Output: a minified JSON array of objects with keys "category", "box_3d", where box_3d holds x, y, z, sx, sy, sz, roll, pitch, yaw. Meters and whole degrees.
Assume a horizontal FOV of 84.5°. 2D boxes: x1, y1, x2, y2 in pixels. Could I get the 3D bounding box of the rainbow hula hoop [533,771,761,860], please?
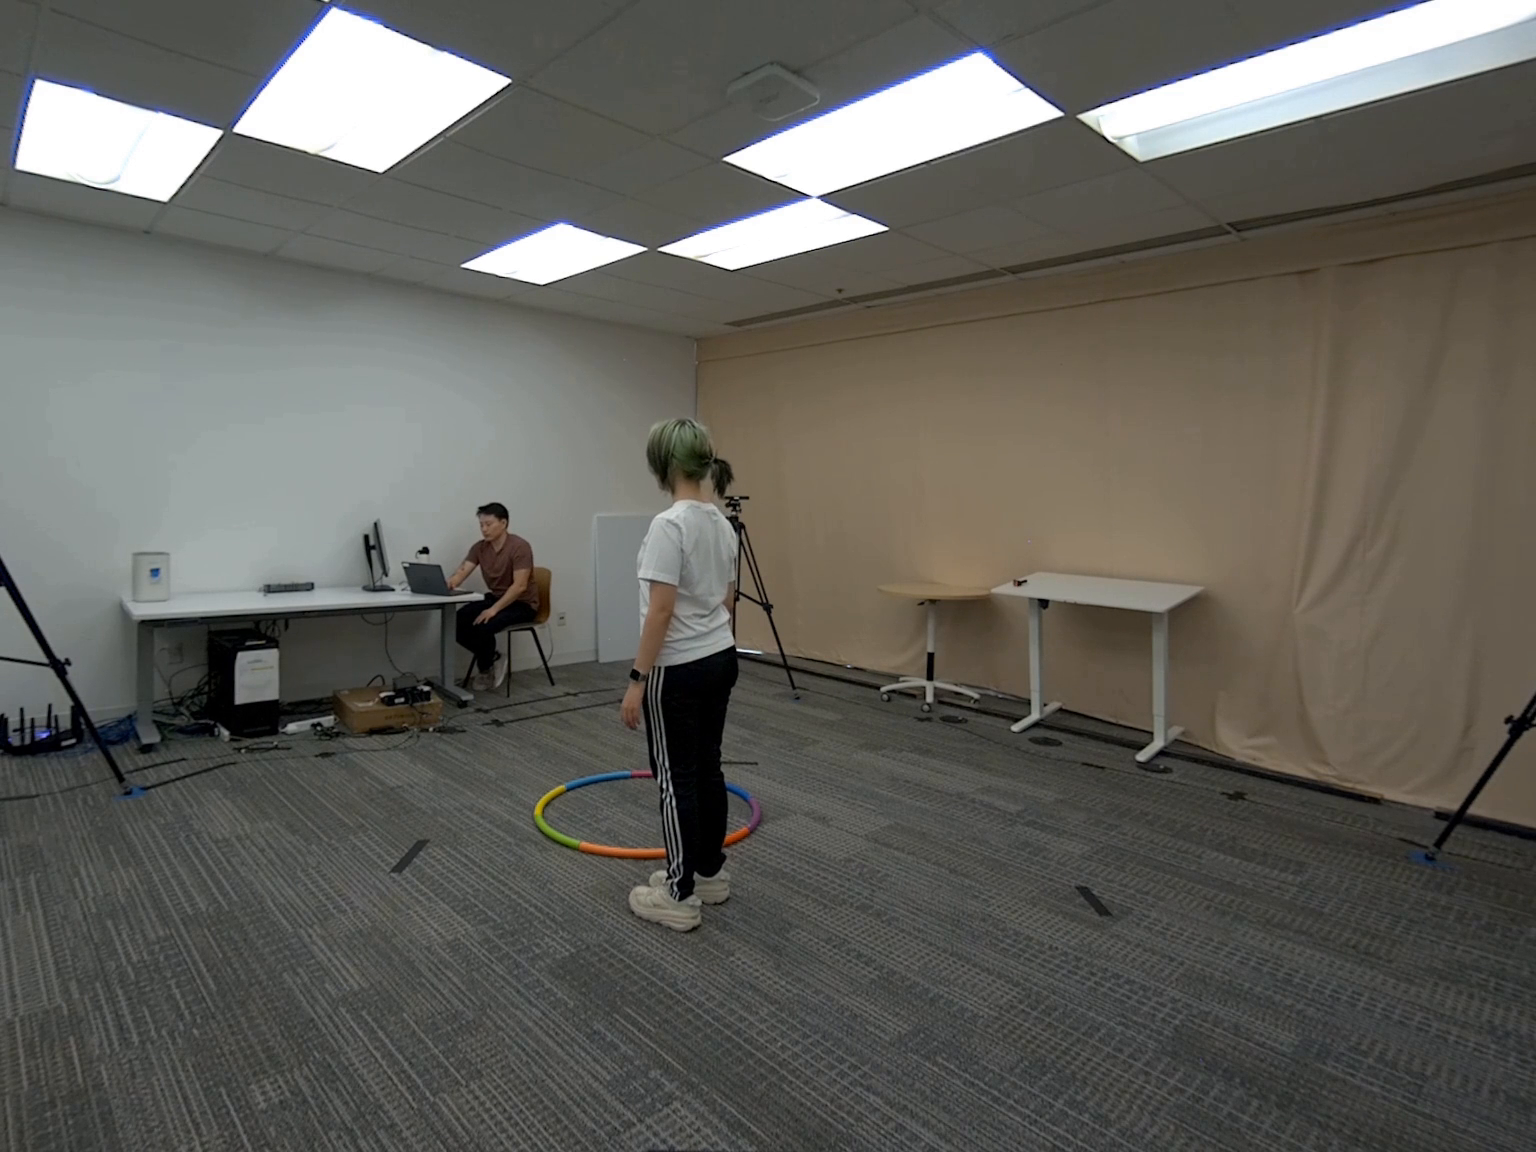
[{"category":"rainbow hula hoop","box_3d":[-0.532,1.018,3.706,0.985,0.051,0.989,2,6,-1]}]
